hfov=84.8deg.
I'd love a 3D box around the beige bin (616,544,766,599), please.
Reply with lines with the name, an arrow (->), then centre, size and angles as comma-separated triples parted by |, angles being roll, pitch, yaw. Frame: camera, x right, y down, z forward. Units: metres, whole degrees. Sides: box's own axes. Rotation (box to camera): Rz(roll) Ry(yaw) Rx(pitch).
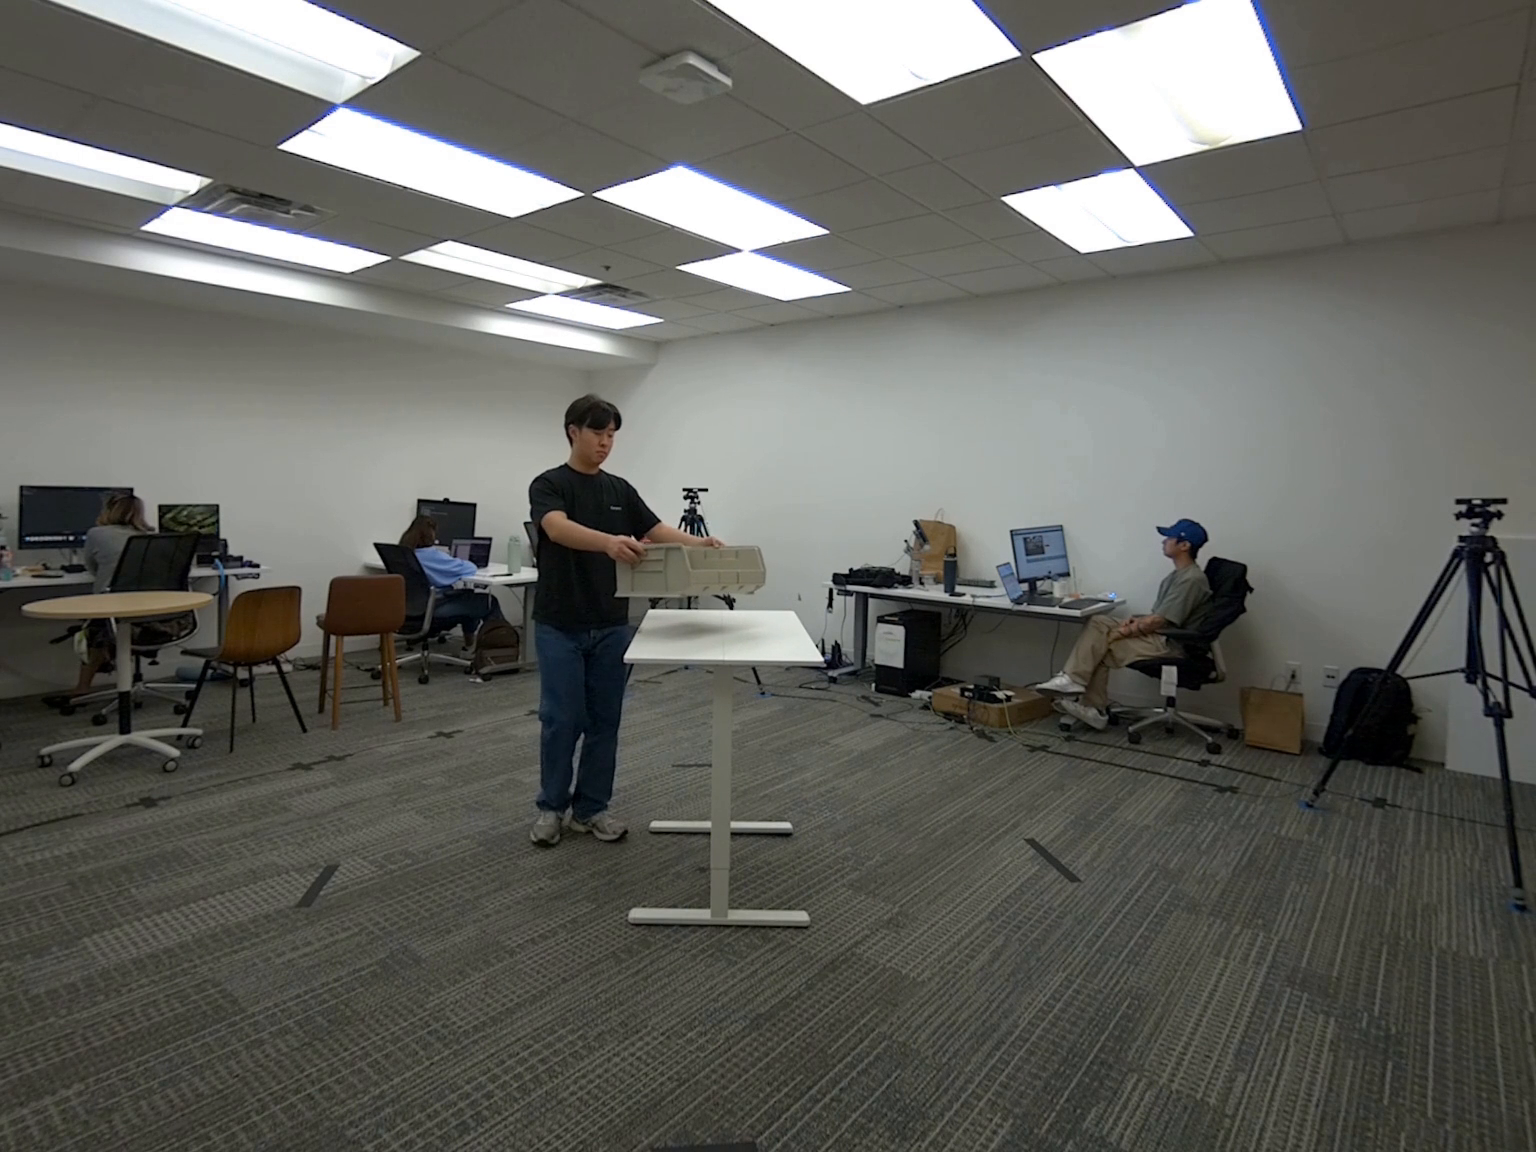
beige bin -> -0.289, -0.016, 3.047 | 0.389, 0.189, 0.409 | -2, 1, 39
